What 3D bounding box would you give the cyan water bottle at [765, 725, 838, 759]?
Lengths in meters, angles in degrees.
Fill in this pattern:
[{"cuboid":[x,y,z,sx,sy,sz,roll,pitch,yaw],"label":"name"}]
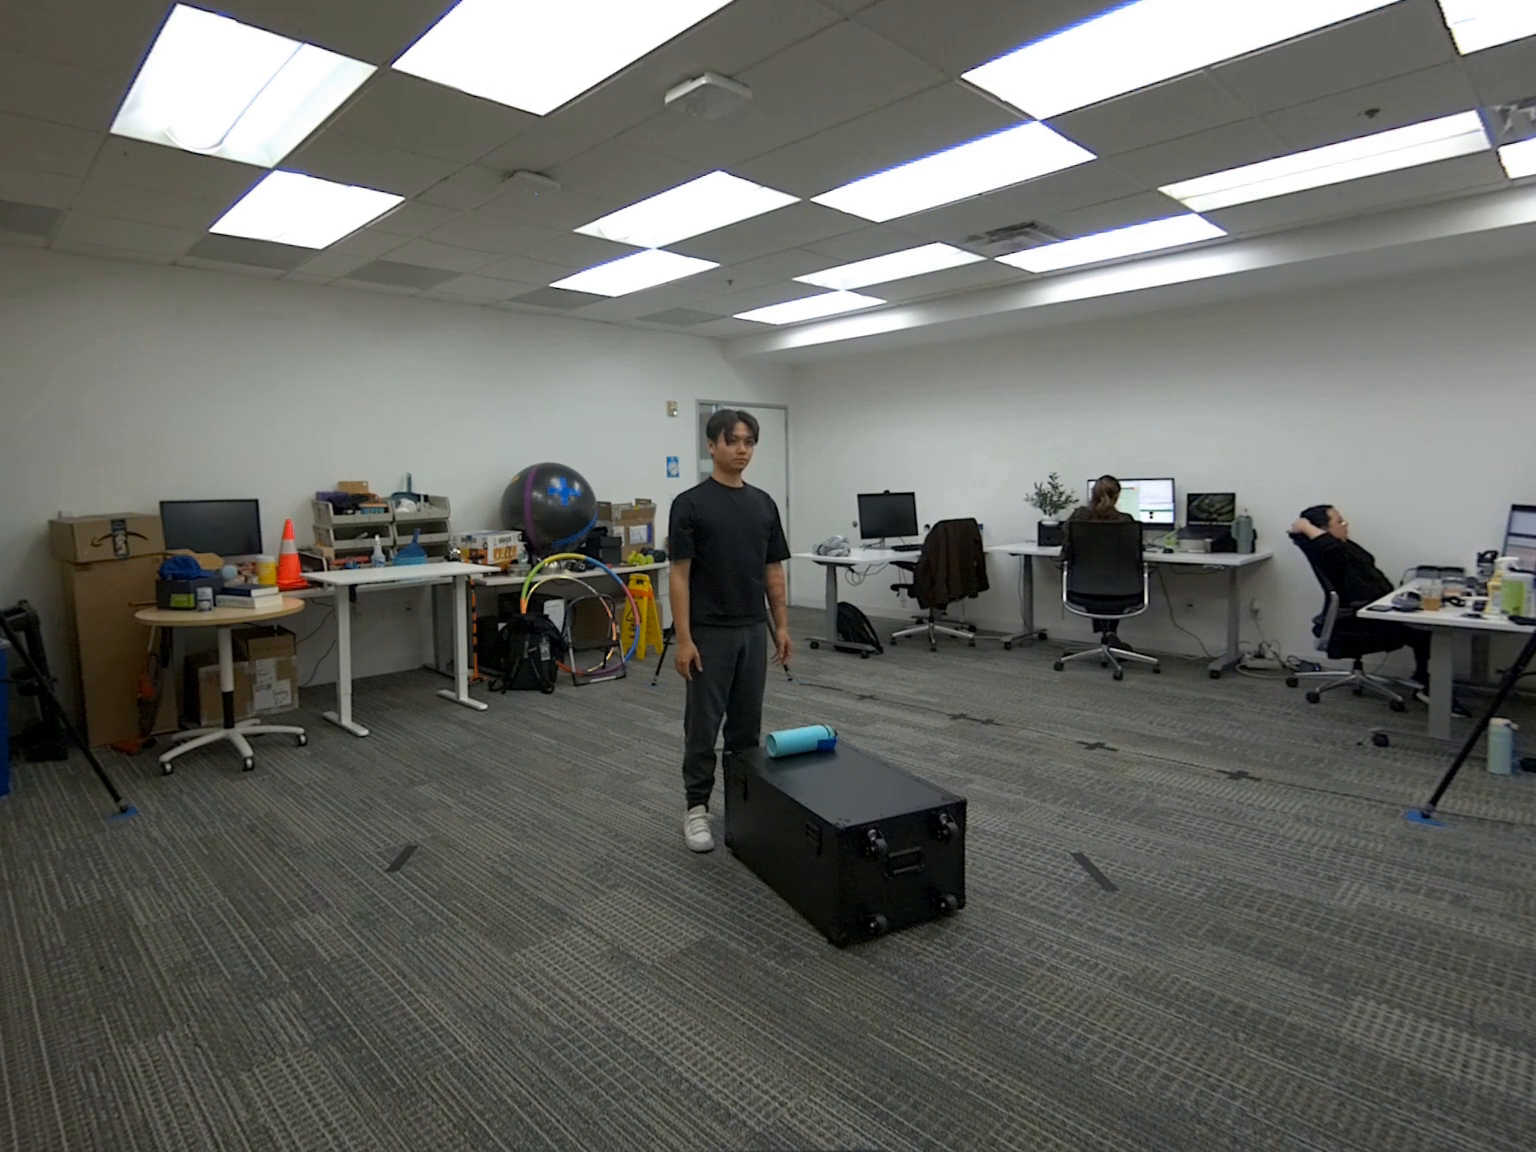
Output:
[{"cuboid":[0.134,0.611,3.187,0.277,0.092,0.095,-3,5,-27],"label":"cyan water bottle"}]
